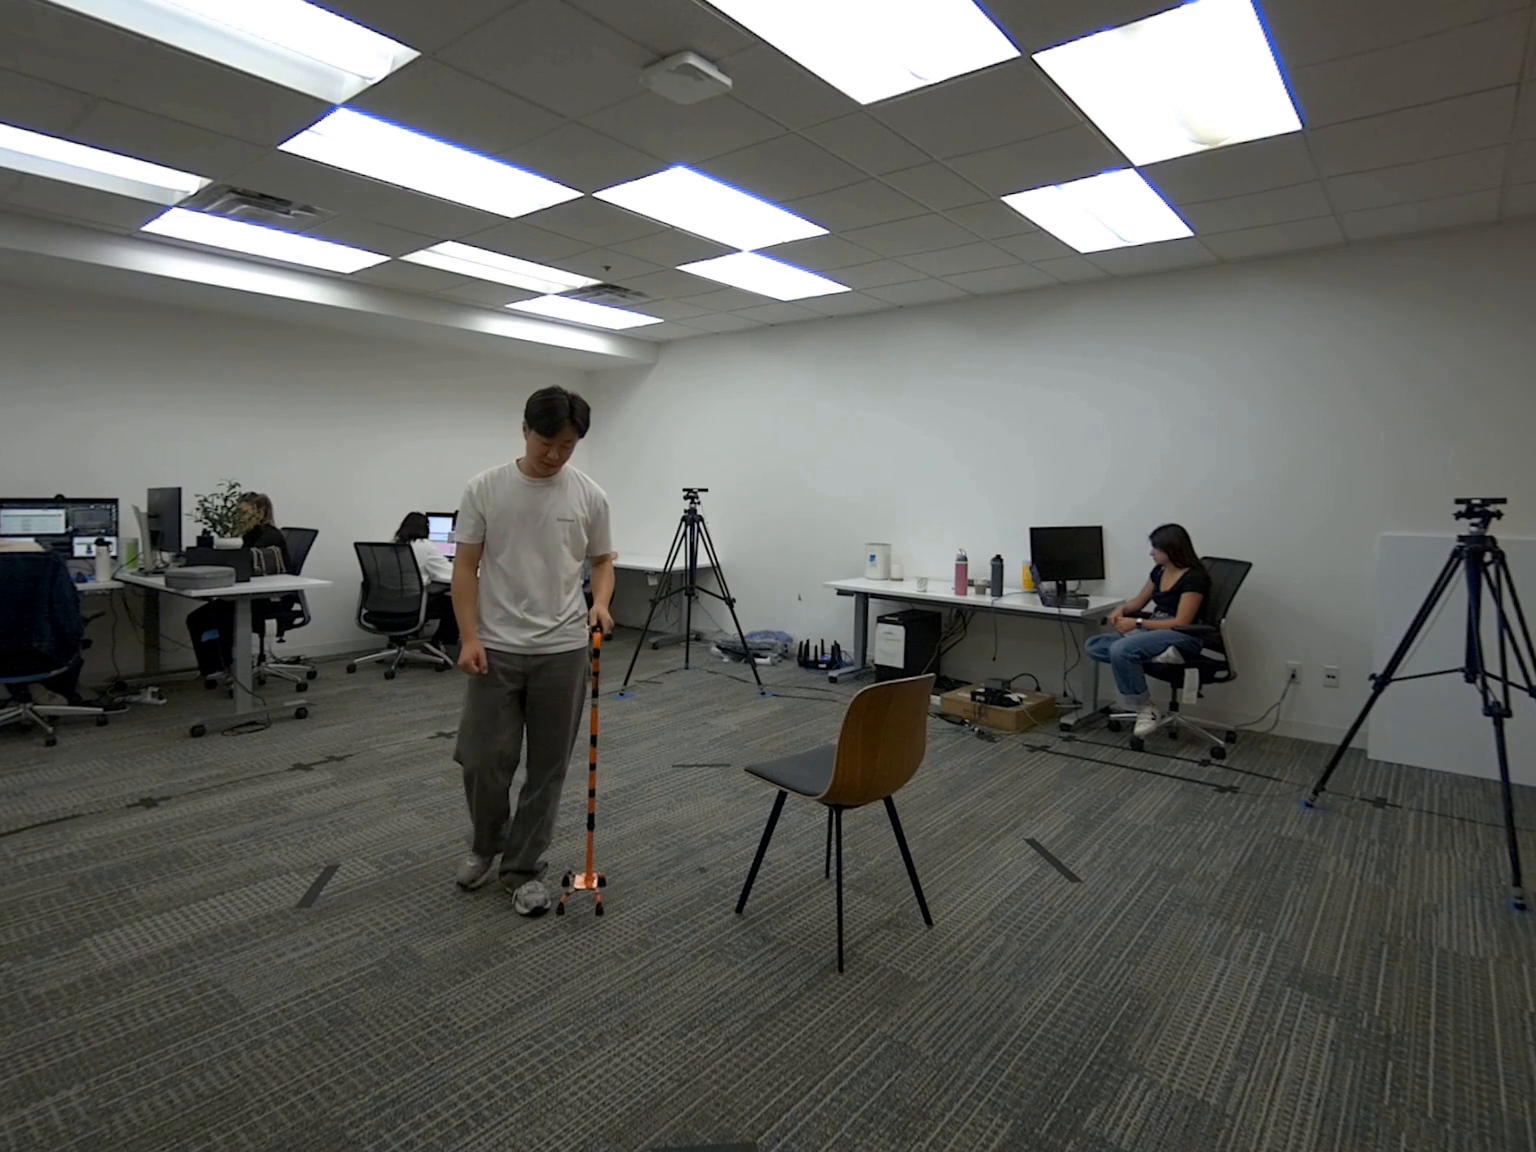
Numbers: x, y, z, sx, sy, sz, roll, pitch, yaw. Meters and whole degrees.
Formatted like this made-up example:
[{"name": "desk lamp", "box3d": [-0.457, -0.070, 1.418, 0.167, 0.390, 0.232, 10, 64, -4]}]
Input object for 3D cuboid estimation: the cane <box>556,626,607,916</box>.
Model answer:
[{"name": "cane", "box3d": [-0.584, 0.606, 2.739, 0.151, 0.905, 0.208, 3, 4, -5]}]
